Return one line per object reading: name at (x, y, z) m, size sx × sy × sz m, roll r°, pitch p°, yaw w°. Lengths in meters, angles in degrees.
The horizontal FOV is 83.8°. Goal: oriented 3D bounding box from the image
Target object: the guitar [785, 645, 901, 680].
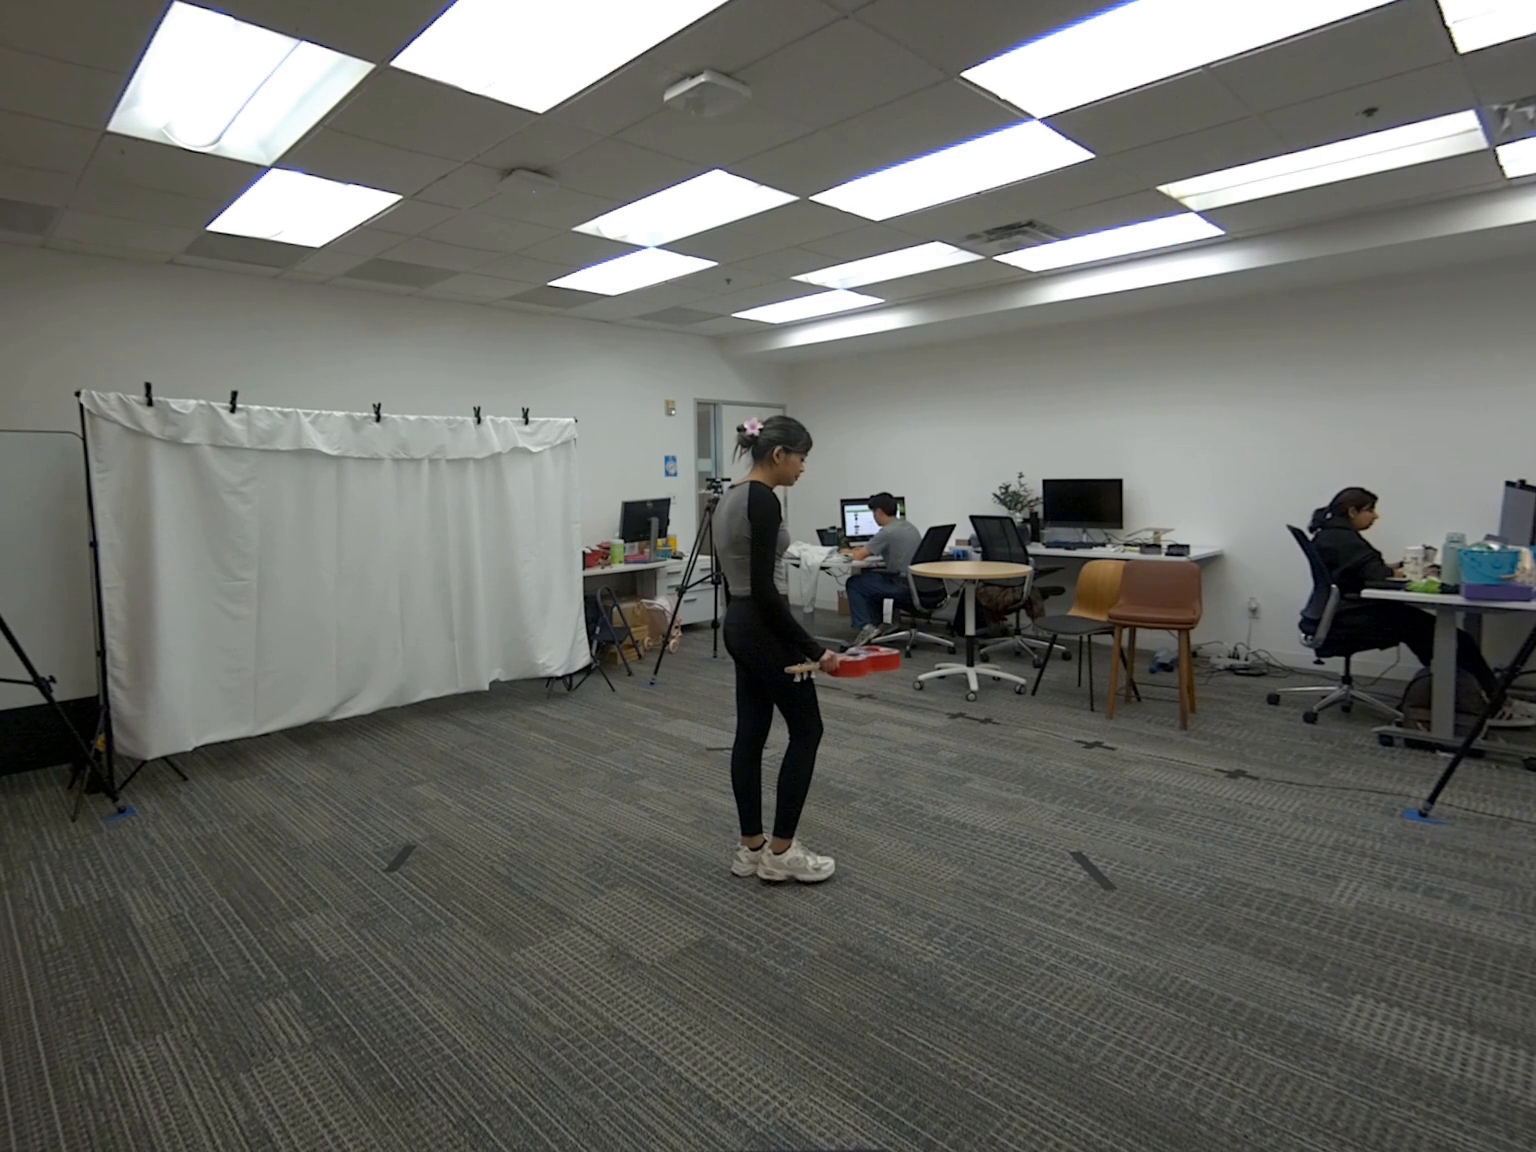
guitar at (0.229, 0.304, 2.902) m, size 0.486 × 0.070 × 0.198 m, roll -6°, pitch 6°, yaw -34°
